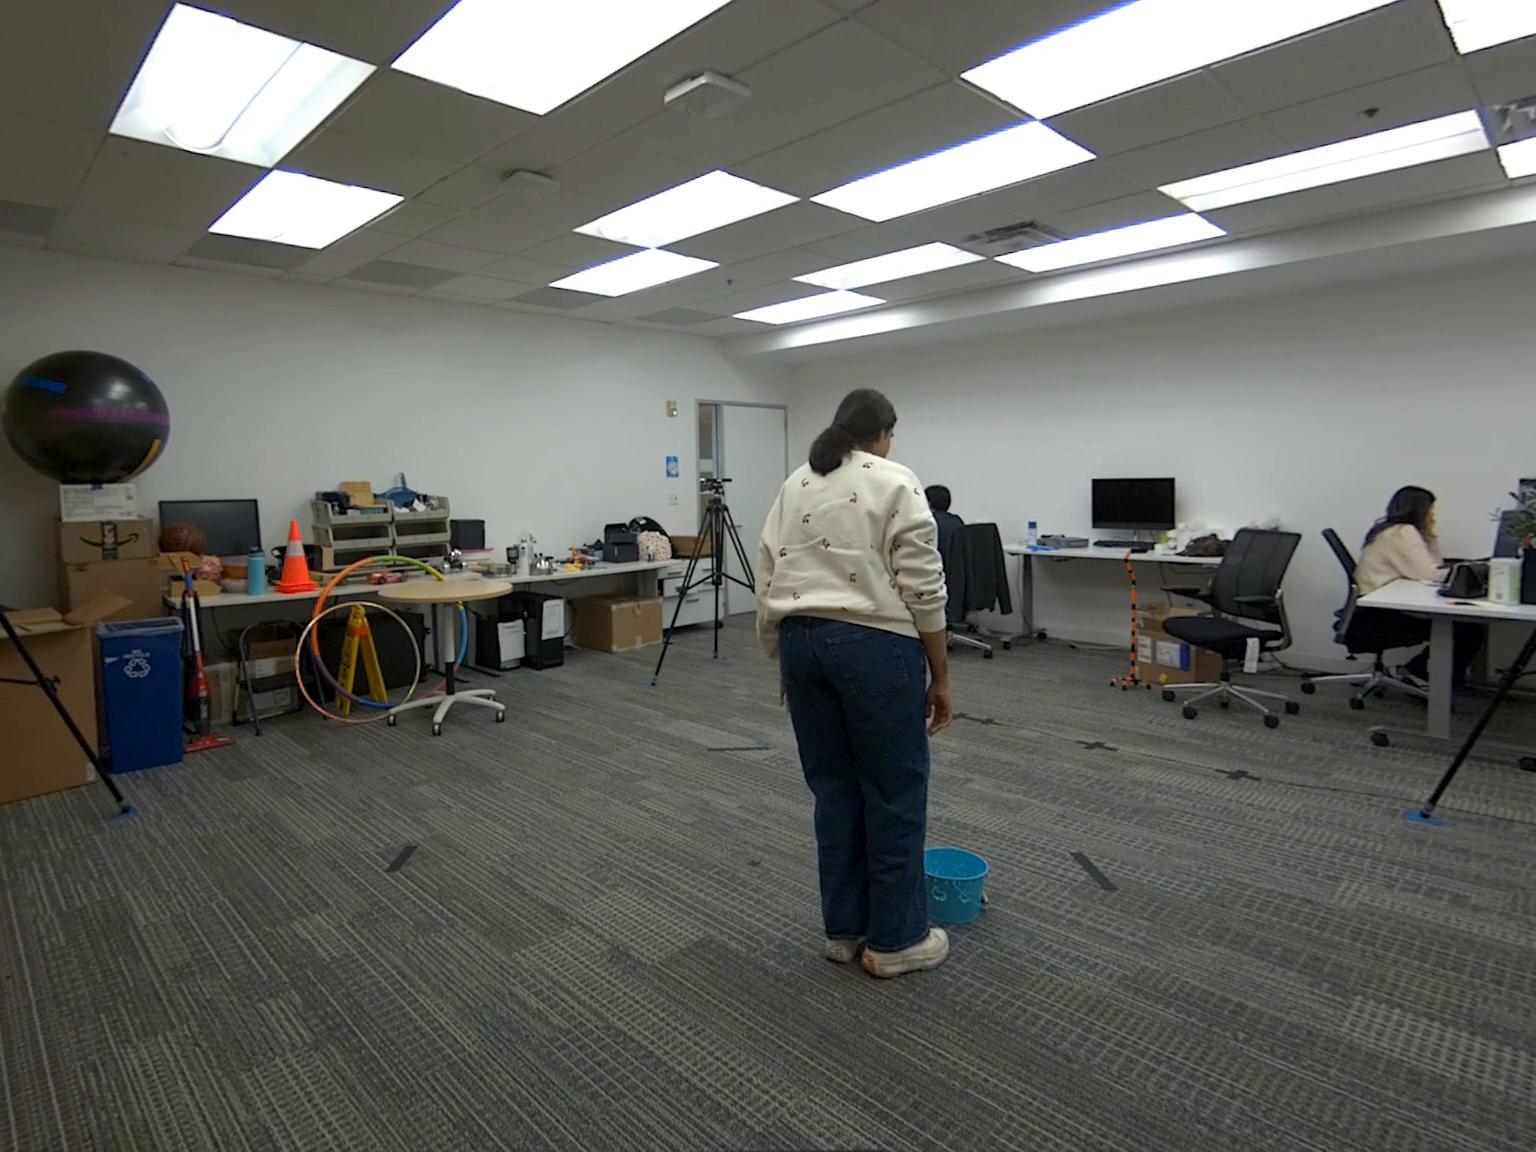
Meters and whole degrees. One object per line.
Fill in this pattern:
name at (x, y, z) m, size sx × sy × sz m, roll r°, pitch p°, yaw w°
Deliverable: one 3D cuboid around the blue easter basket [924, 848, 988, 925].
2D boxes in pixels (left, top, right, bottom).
blue easter basket at (0.591, 0.995, 2.743) m, size 0.243 × 0.155 × 0.245 m, roll -2°, pitch 6°, yaw -1°
